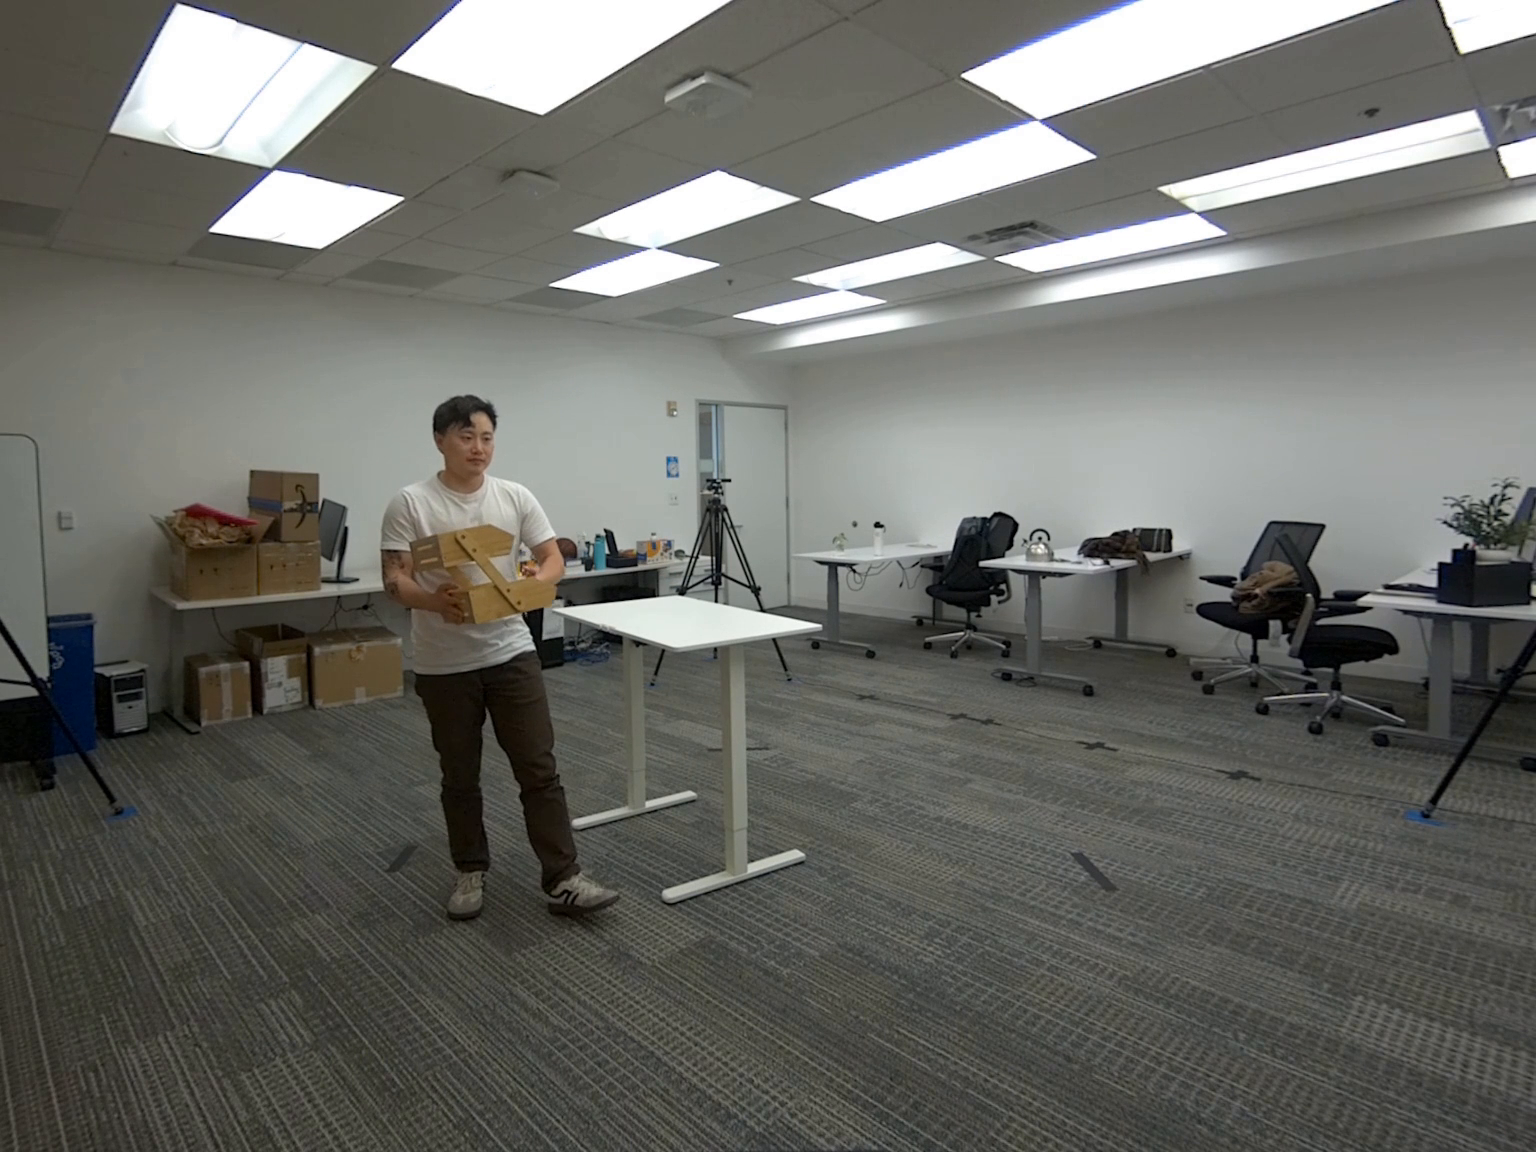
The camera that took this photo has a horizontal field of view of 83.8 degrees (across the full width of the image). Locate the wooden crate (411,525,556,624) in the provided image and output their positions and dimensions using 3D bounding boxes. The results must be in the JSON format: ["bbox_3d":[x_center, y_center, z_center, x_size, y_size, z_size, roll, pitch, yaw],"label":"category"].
[{"bbox_3d":[-0.830,-0.015,2.472,0.296,0.272,0.332,-14,5,-36],"label":"wooden crate"}]
